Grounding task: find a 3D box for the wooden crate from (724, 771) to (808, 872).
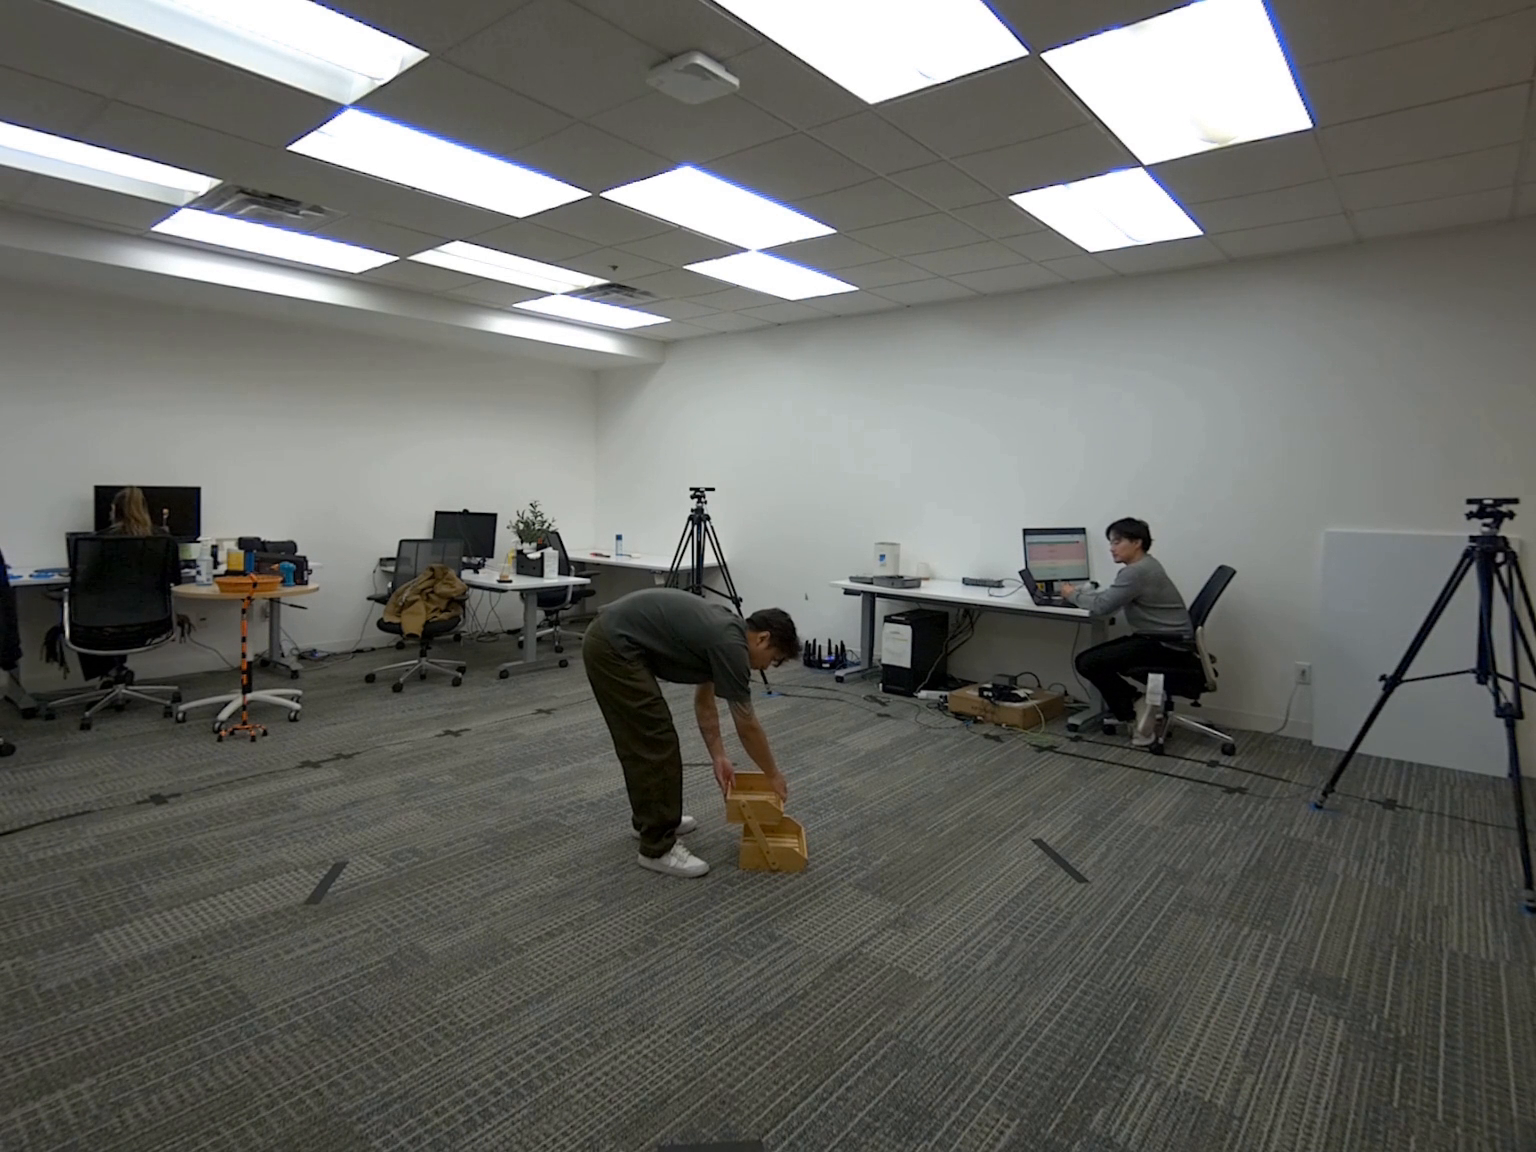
[{"bbox_3d":[0.001,0.929,3.252,0.302,0.272,0.325,1,4,0],"label":"wooden crate"}]
